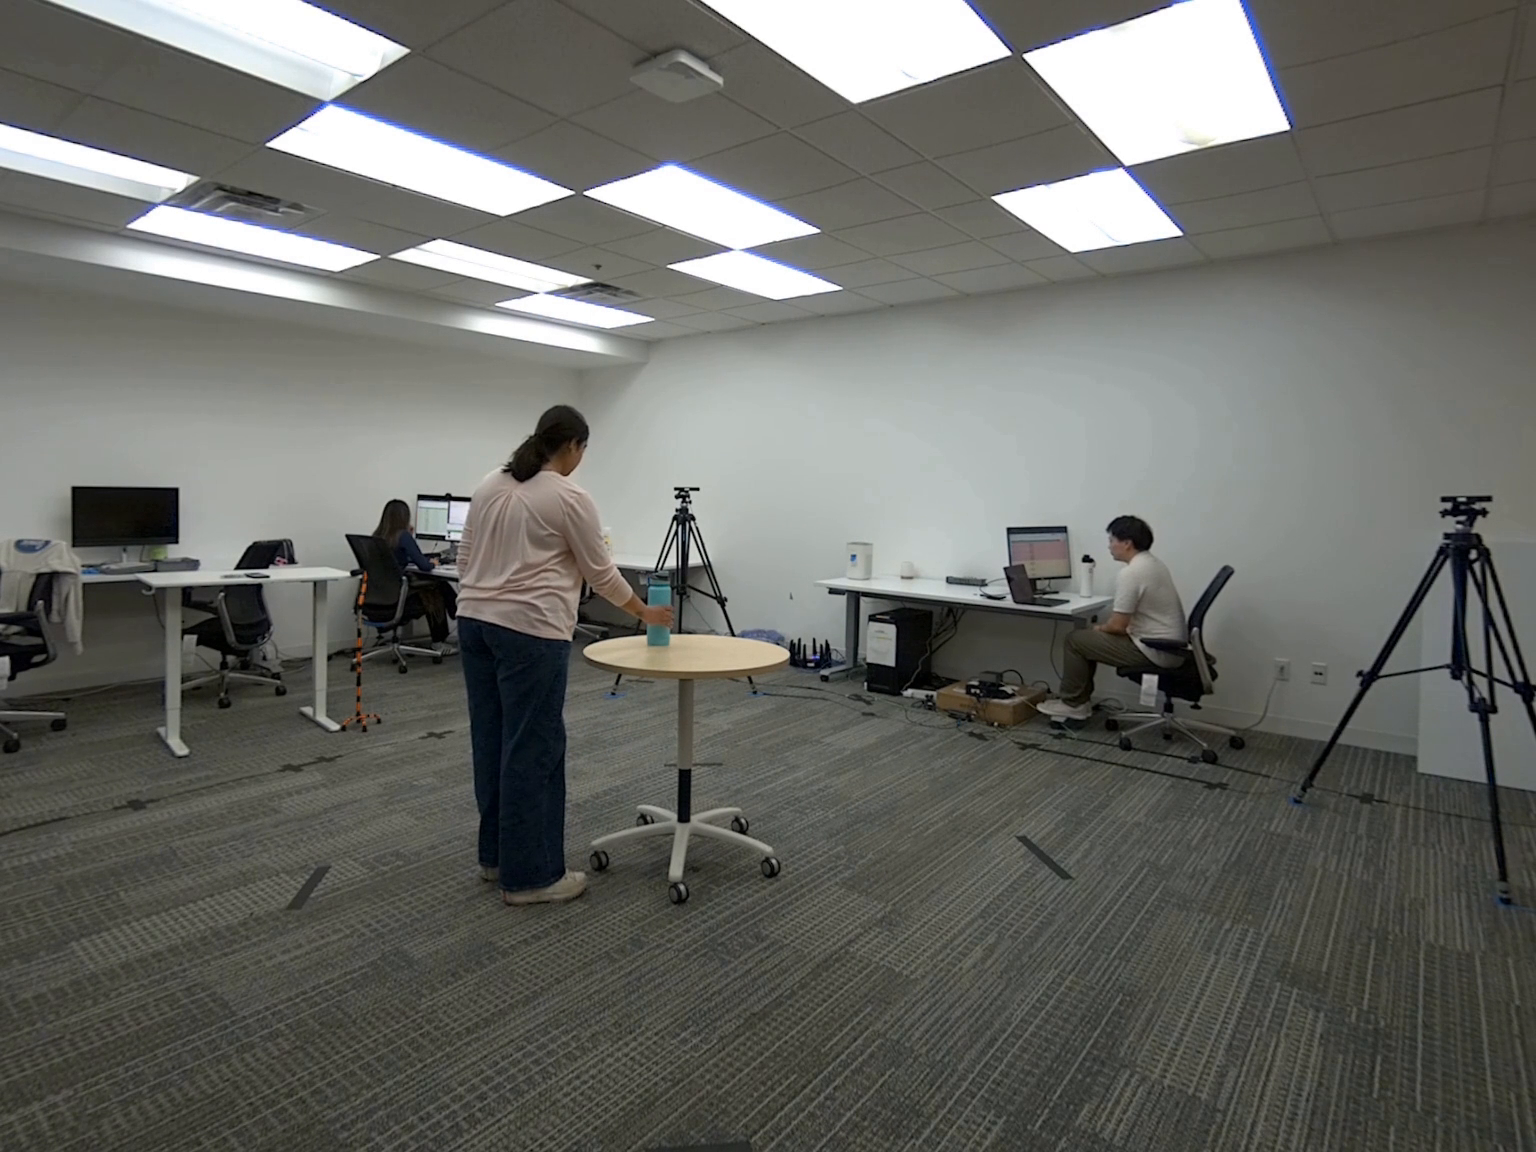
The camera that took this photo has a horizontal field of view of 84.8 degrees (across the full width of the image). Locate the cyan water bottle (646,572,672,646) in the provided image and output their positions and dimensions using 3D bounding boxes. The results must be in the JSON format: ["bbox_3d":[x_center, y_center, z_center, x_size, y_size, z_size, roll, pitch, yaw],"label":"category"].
[{"bbox_3d":[-0.437,0.122,3.299,0.092,0.283,0.092,1,2,-2],"label":"cyan water bottle"}]
